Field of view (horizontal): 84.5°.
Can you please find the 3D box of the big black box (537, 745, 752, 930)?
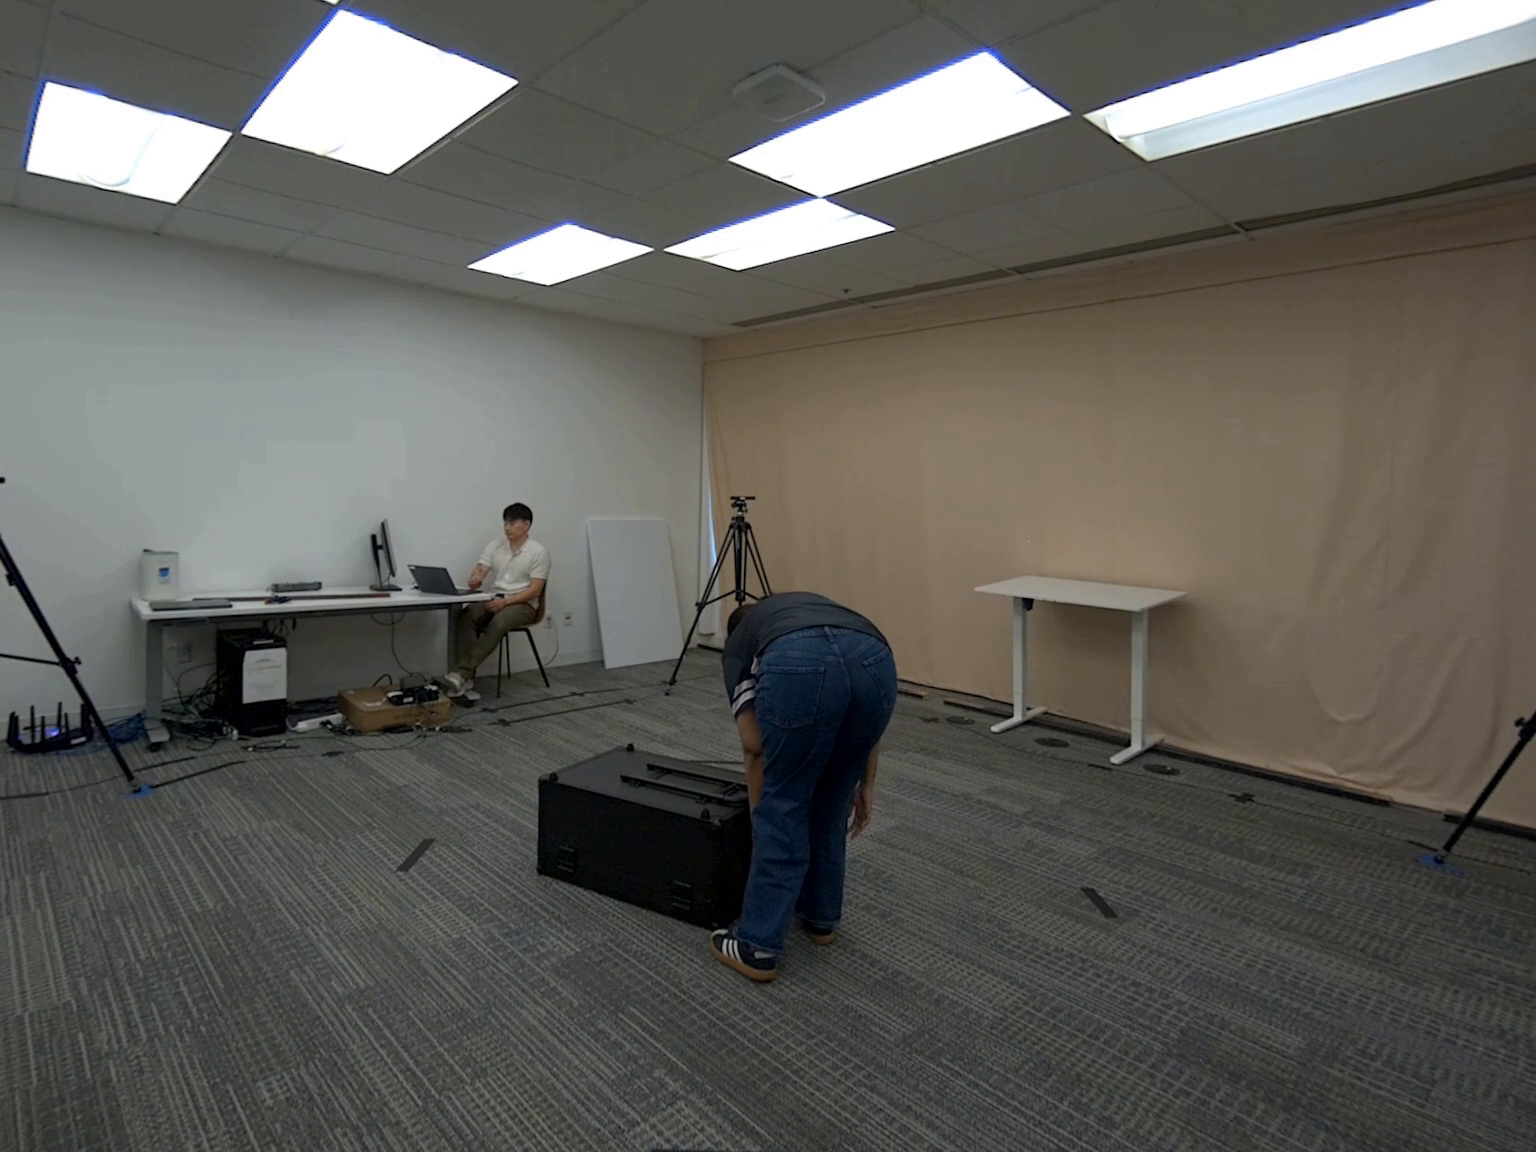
[{"bbox_3d":[-0.425,0.914,3.086,0.887,0.384,0.514,4,6,29],"label":"big black box"}]
